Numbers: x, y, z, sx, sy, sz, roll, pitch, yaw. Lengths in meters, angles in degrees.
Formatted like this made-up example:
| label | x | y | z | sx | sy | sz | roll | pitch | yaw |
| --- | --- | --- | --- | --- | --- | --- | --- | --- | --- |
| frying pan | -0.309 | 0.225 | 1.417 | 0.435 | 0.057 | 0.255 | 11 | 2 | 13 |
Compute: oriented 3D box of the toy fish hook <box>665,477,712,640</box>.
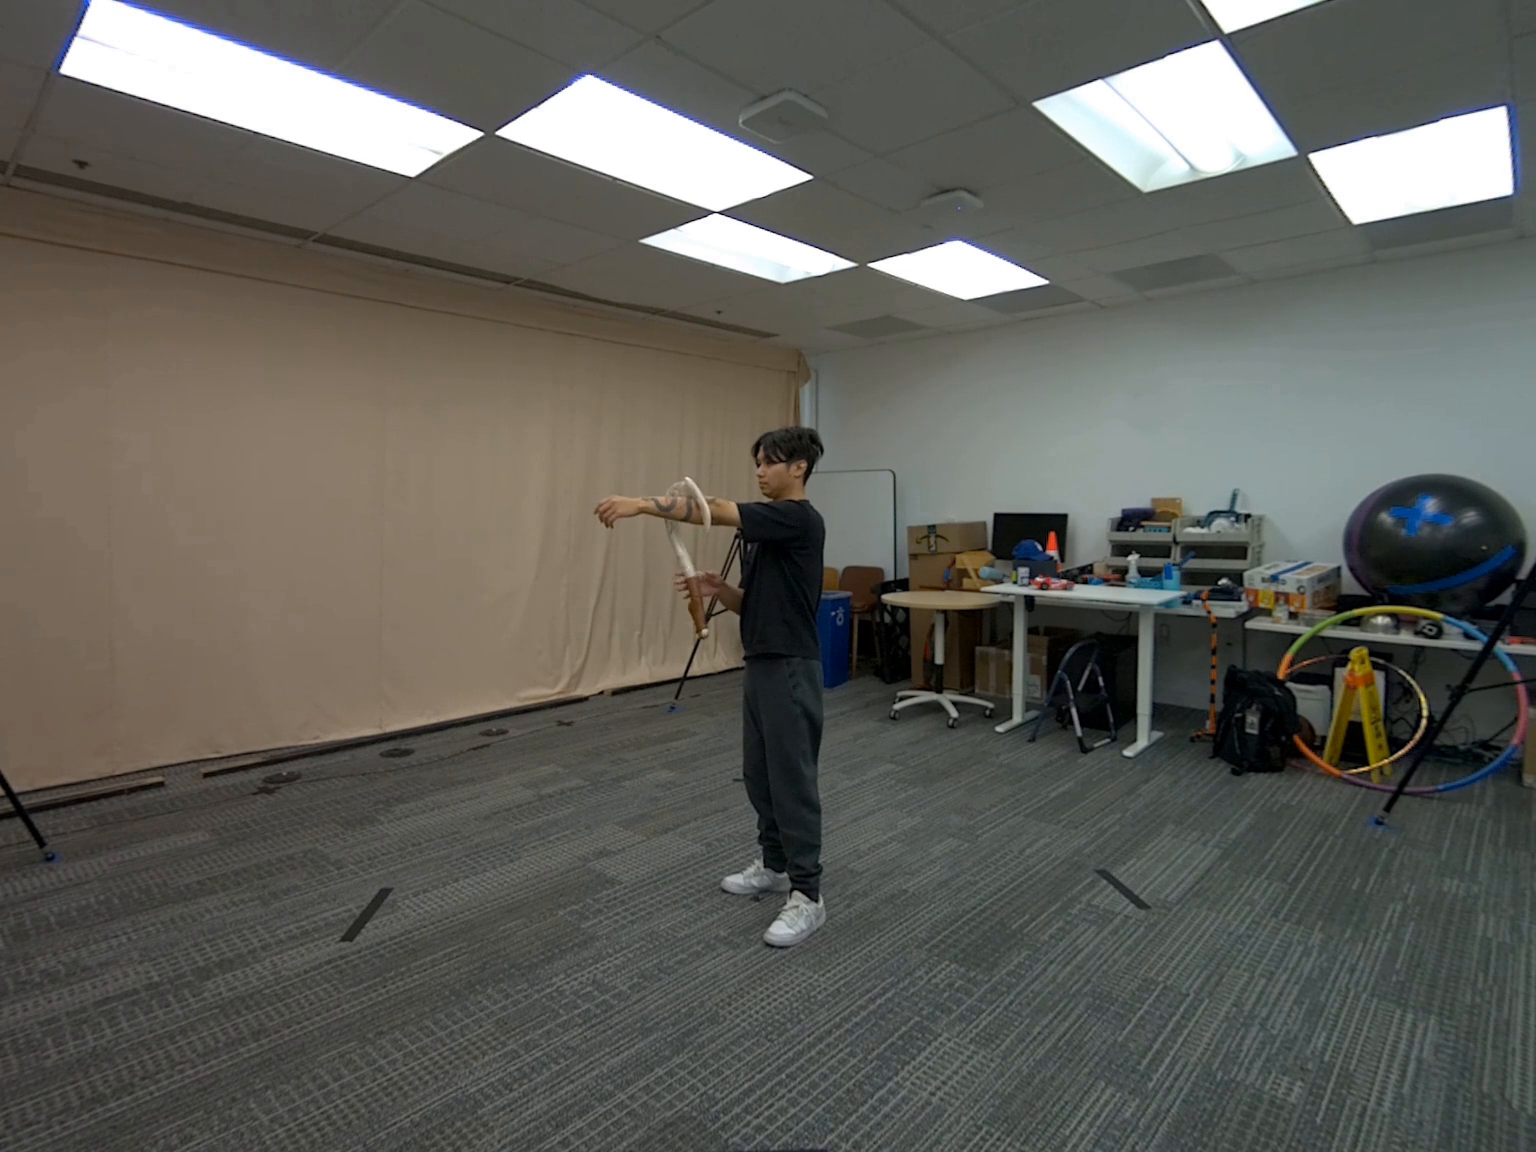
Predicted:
| label | x | y | z | sx | sy | sz | roll | pitch | yaw |
| --- | --- | --- | --- | --- | --- | --- | --- | --- | --- |
| toy fish hook | -0.223 | -0.057 | 2.663 | 0.047 | 0.511 | 0.229 | -7 | -11 | -39 |
